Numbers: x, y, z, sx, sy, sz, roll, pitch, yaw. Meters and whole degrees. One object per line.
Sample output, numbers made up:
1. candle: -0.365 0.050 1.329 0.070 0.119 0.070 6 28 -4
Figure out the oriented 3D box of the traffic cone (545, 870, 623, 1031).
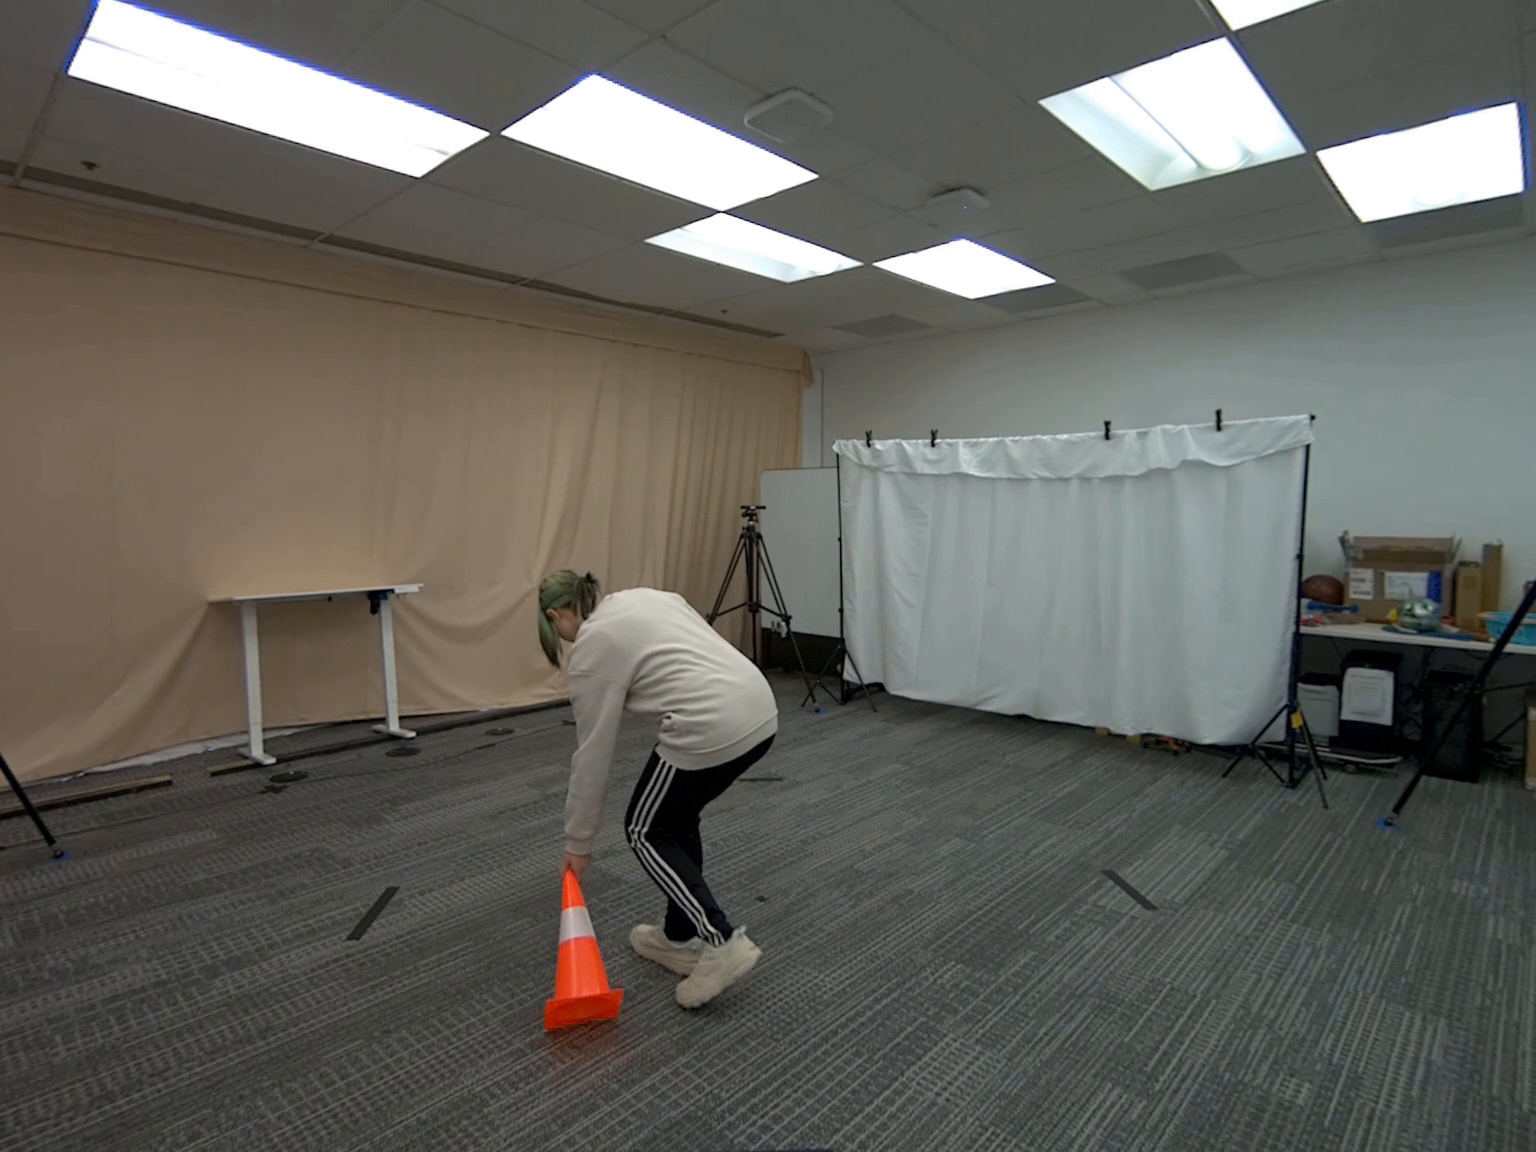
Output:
1. traffic cone: -0.525 1.005 2.315 0.201 0.201 0.395 -4 45 -19
